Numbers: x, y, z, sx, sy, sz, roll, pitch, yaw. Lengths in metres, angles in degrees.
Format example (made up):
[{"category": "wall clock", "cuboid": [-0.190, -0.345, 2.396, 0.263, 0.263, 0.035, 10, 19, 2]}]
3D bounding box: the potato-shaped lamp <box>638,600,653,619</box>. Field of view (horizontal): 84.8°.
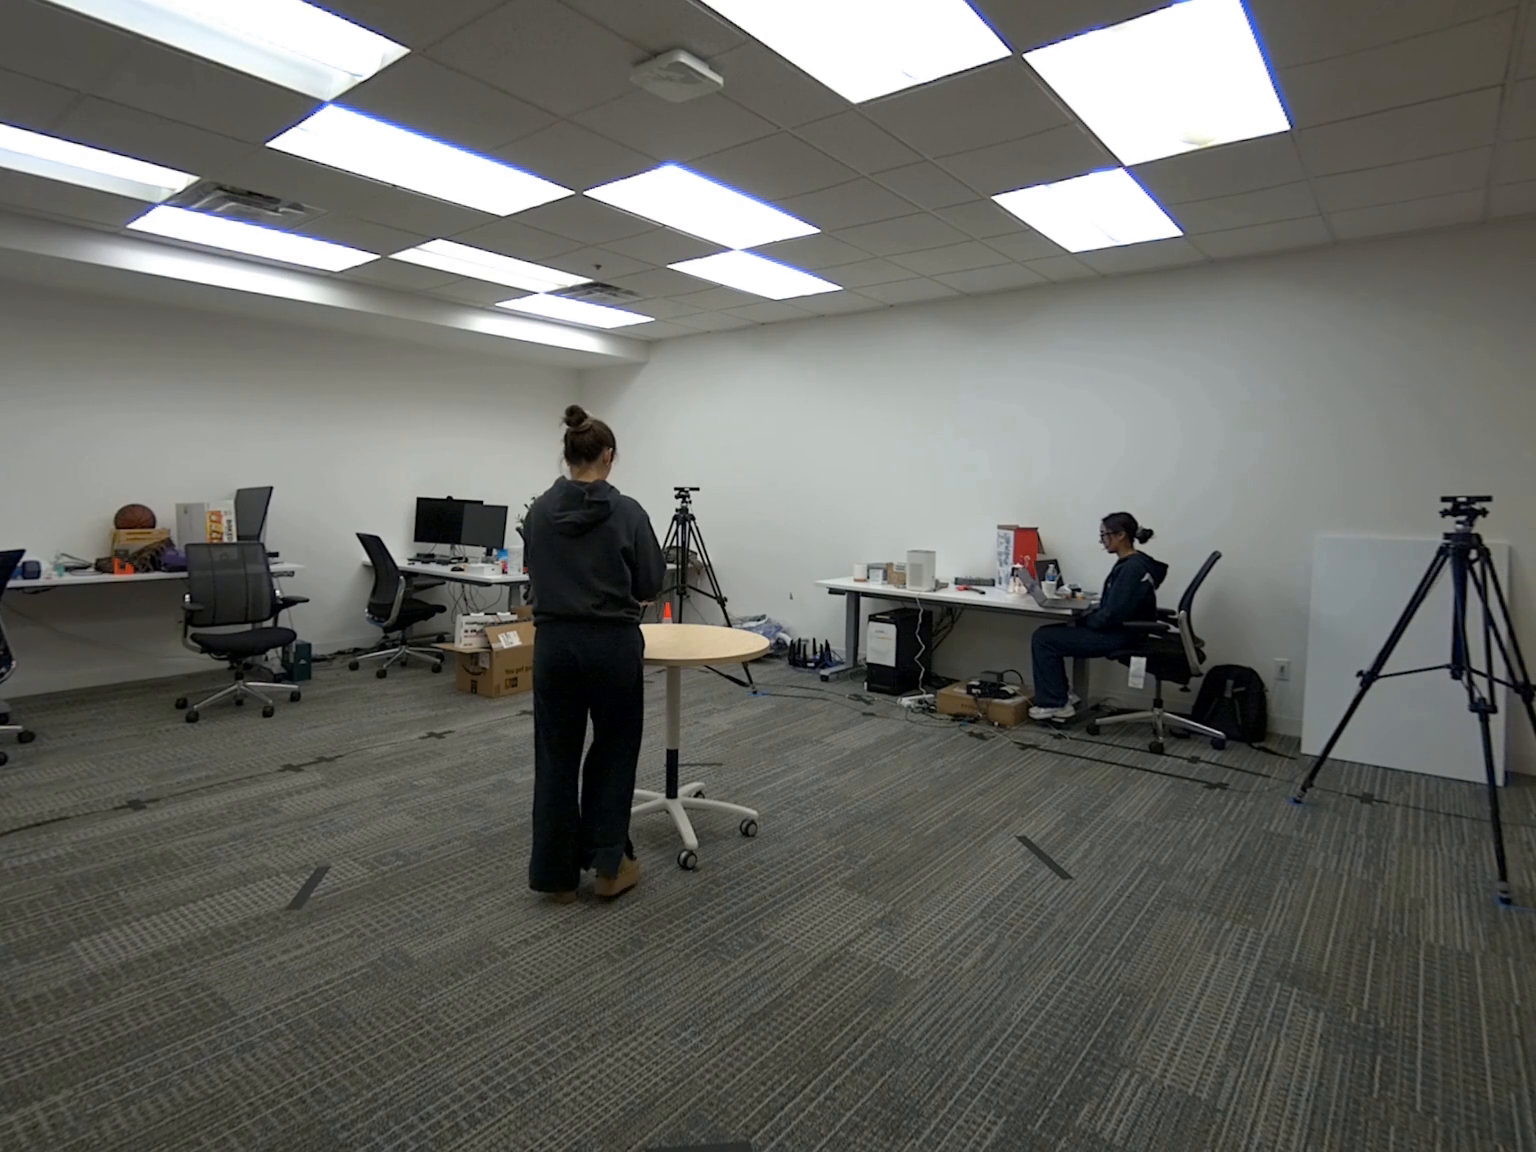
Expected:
[{"category": "potato-shaped lamp", "cuboid": [-0.509, 0.016, 3.197, 0.168, 0.197, 0.169, 3, 6, 18]}]
